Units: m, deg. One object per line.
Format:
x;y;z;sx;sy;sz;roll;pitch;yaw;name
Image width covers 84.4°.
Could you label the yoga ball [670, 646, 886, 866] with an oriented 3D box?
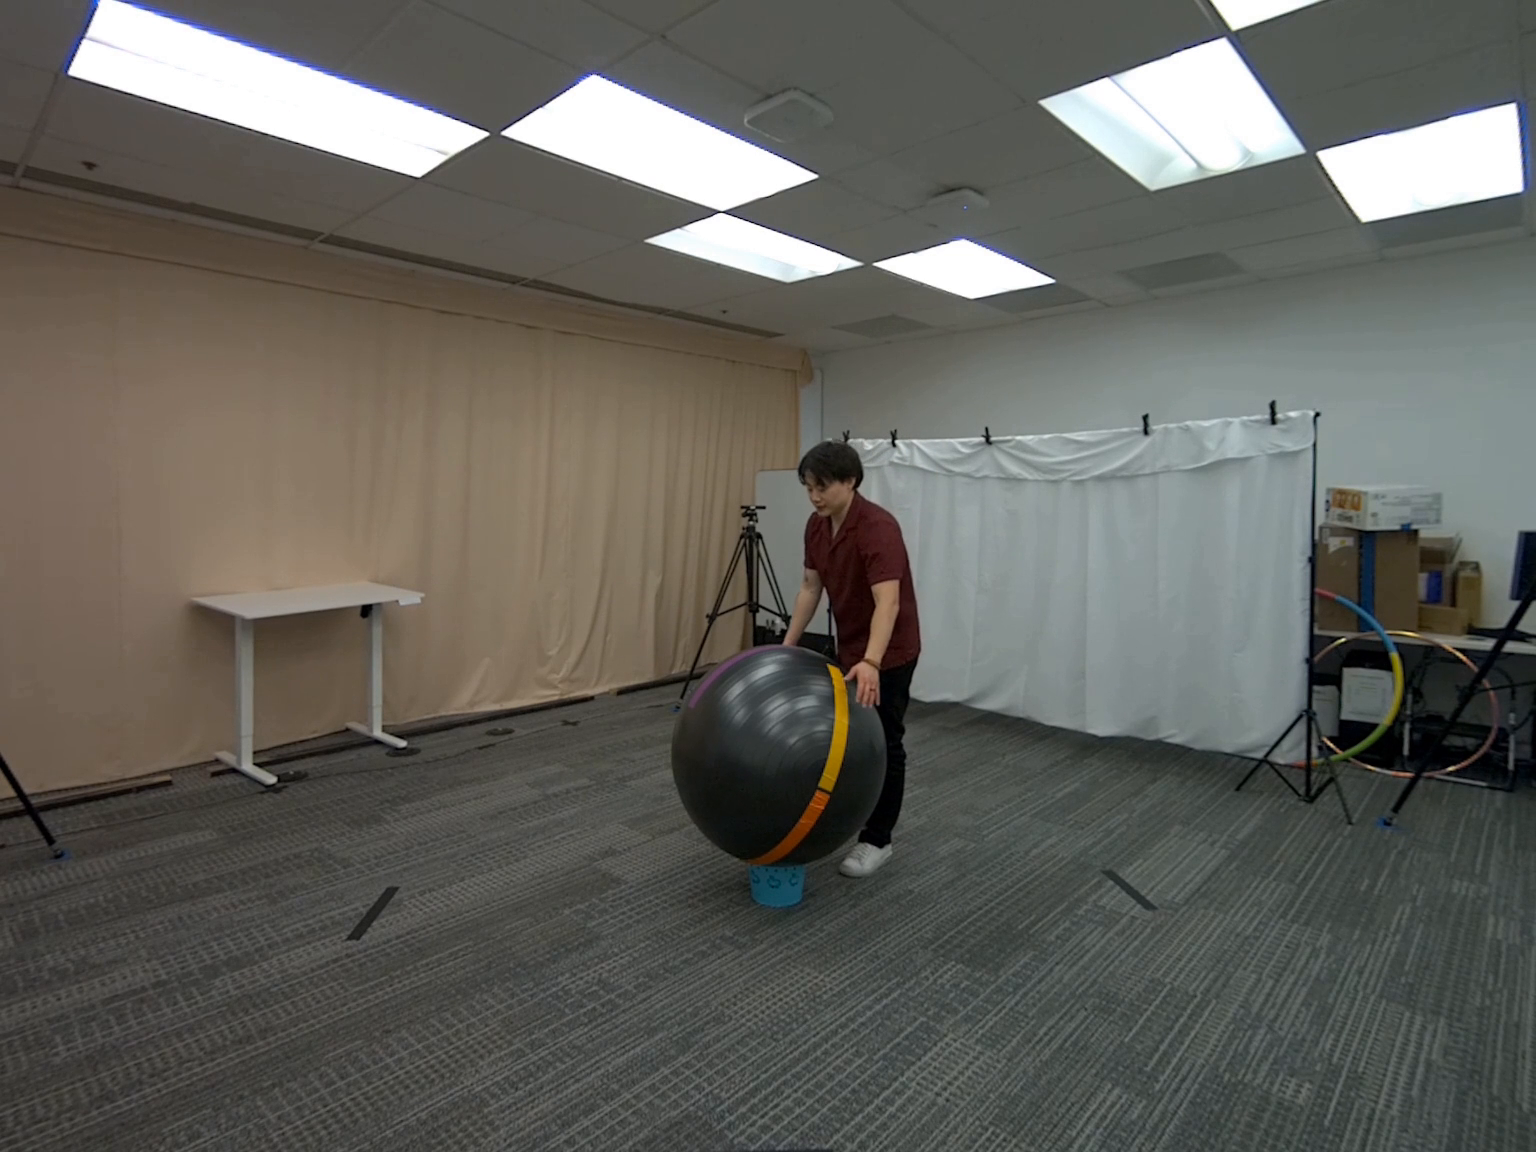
0.030;0.631;2.990;0.757;0.756;0.760;0;4;-2;yoga ball
